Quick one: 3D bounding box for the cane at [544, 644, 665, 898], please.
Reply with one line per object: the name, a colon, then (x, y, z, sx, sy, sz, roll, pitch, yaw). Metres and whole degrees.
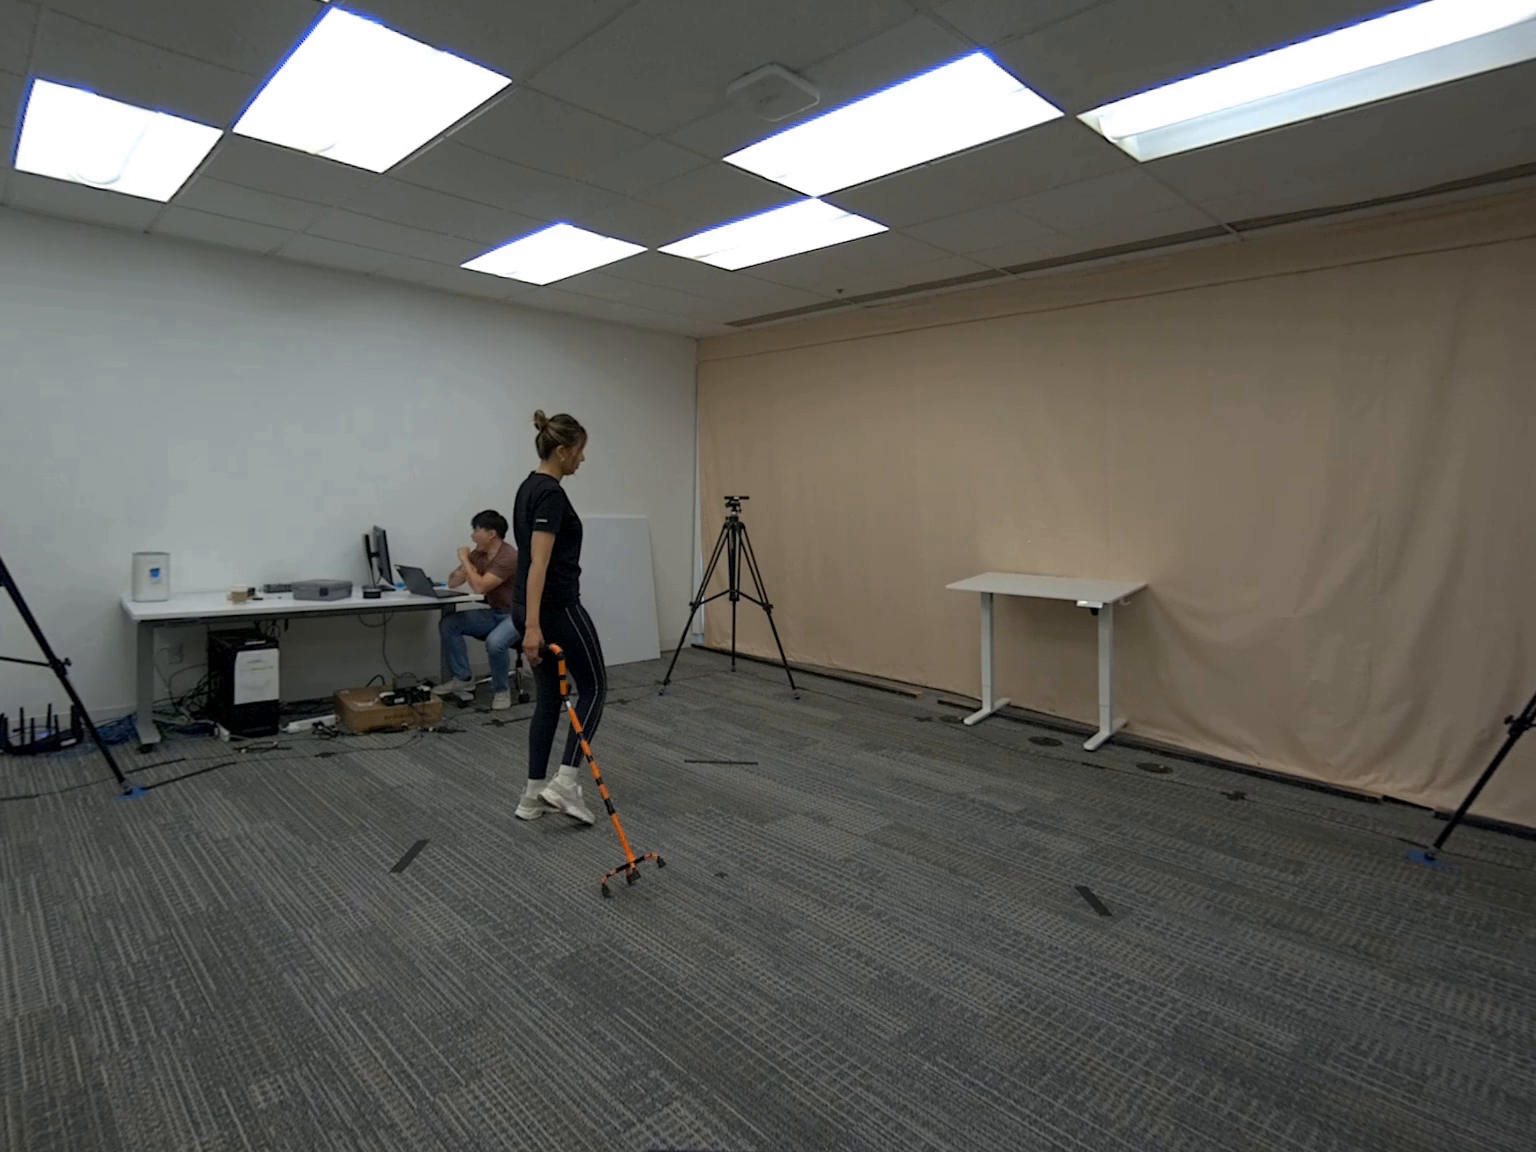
cane: (-0.655, 0.666, 3.043, 0.207, 0.923, 0.148, -36, -19, 31)
